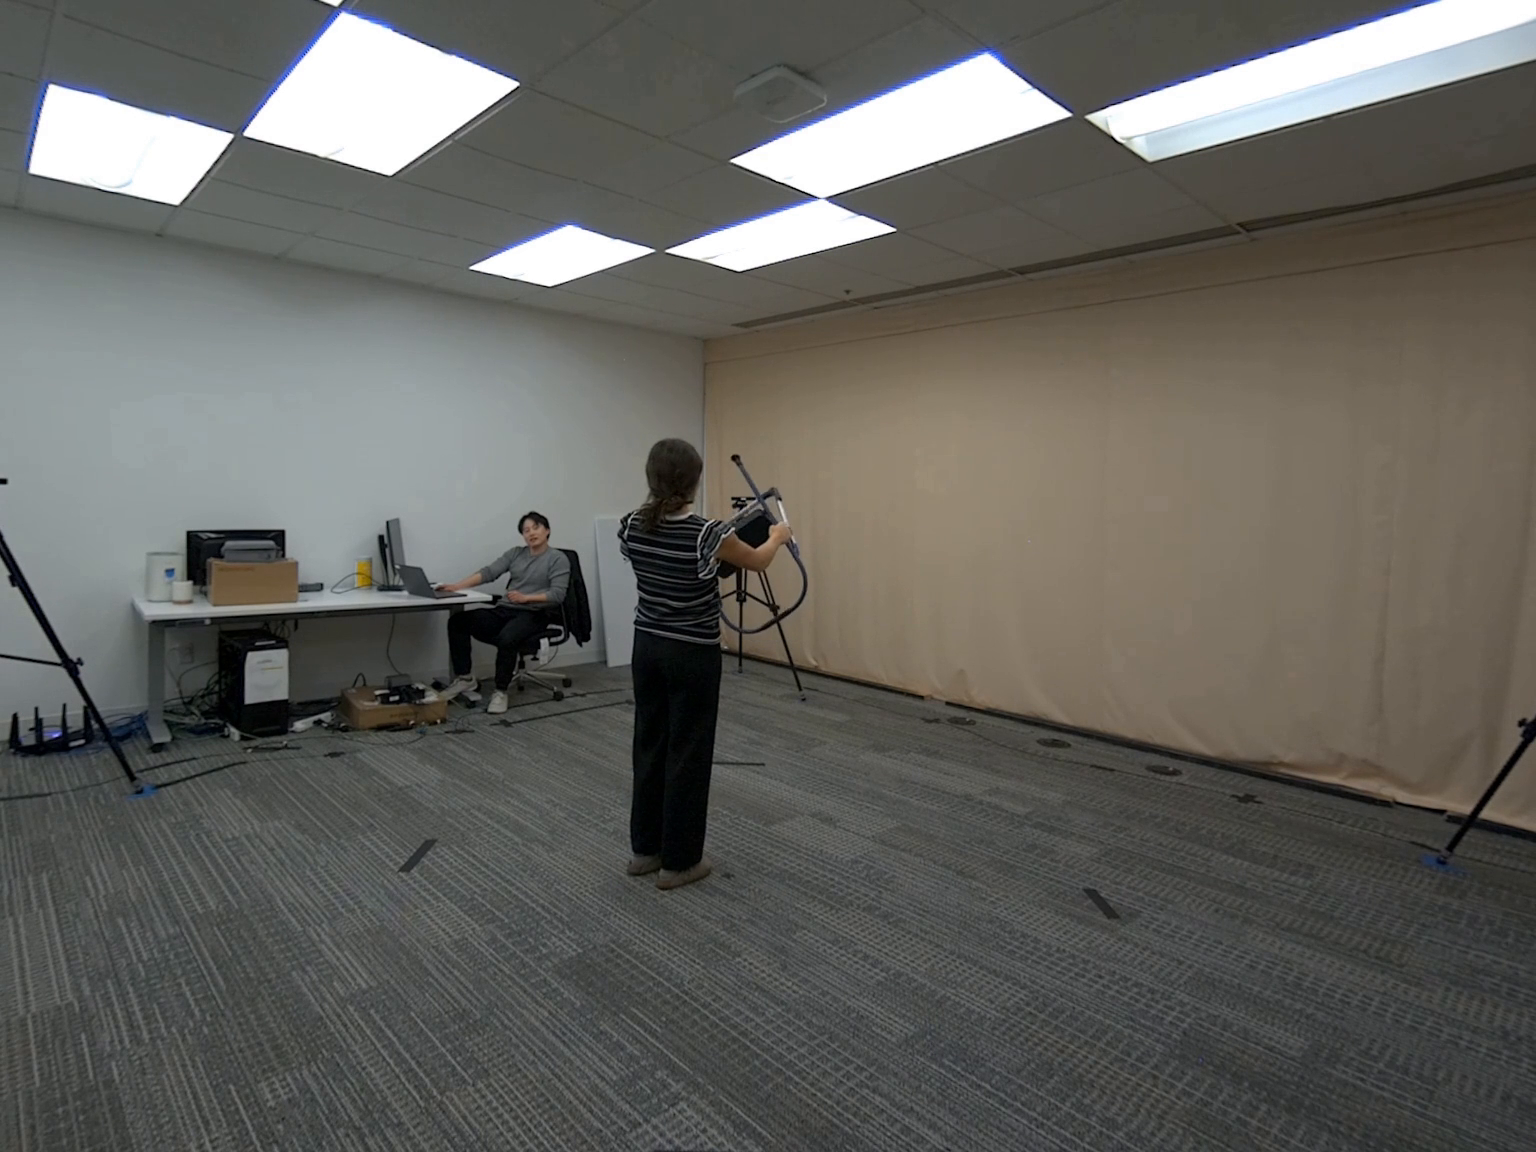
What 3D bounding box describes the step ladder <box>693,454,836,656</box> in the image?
[{"bbox_3d":[-0.105,-0.082,3.412,0.432,0.622,0.338,-35,-34,17],"label":"step ladder"}]
